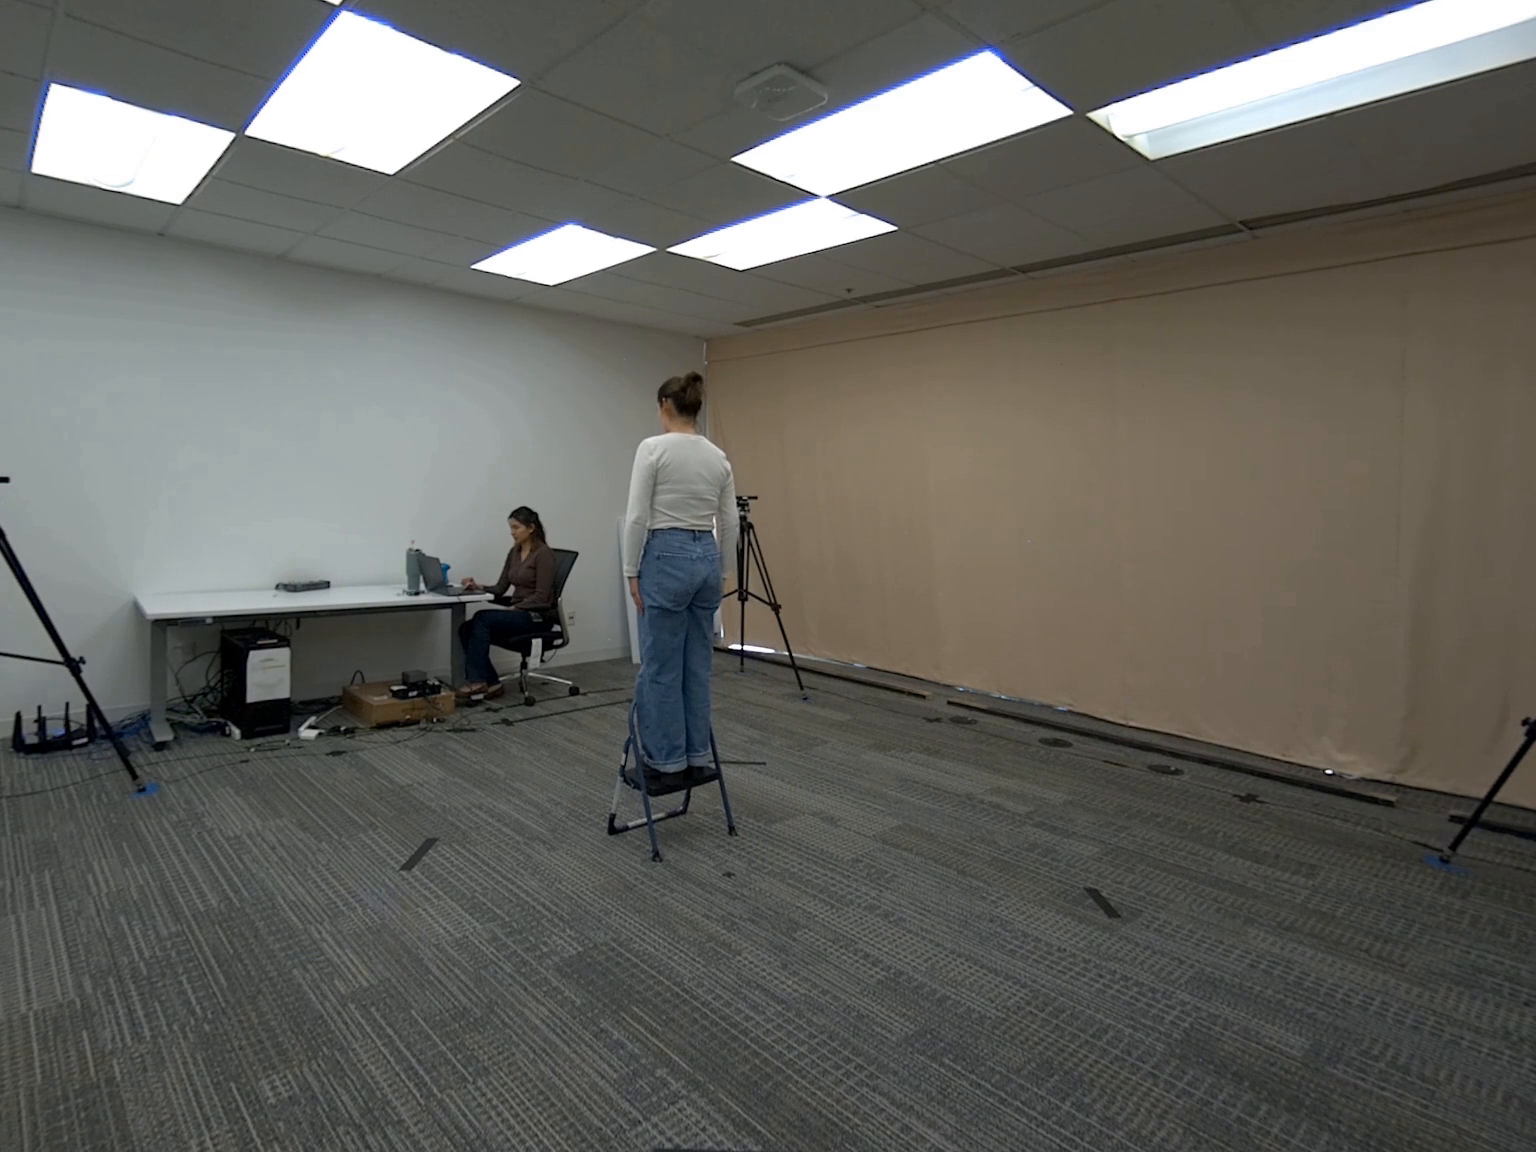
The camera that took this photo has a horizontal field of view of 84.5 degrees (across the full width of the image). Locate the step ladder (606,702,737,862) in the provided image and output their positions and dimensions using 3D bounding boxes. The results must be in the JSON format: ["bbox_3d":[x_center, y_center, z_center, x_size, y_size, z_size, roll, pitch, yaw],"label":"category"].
[{"bbox_3d":[-0.393,0.764,3.450,0.421,0.605,0.358,-2,4,-45],"label":"step ladder"}]
